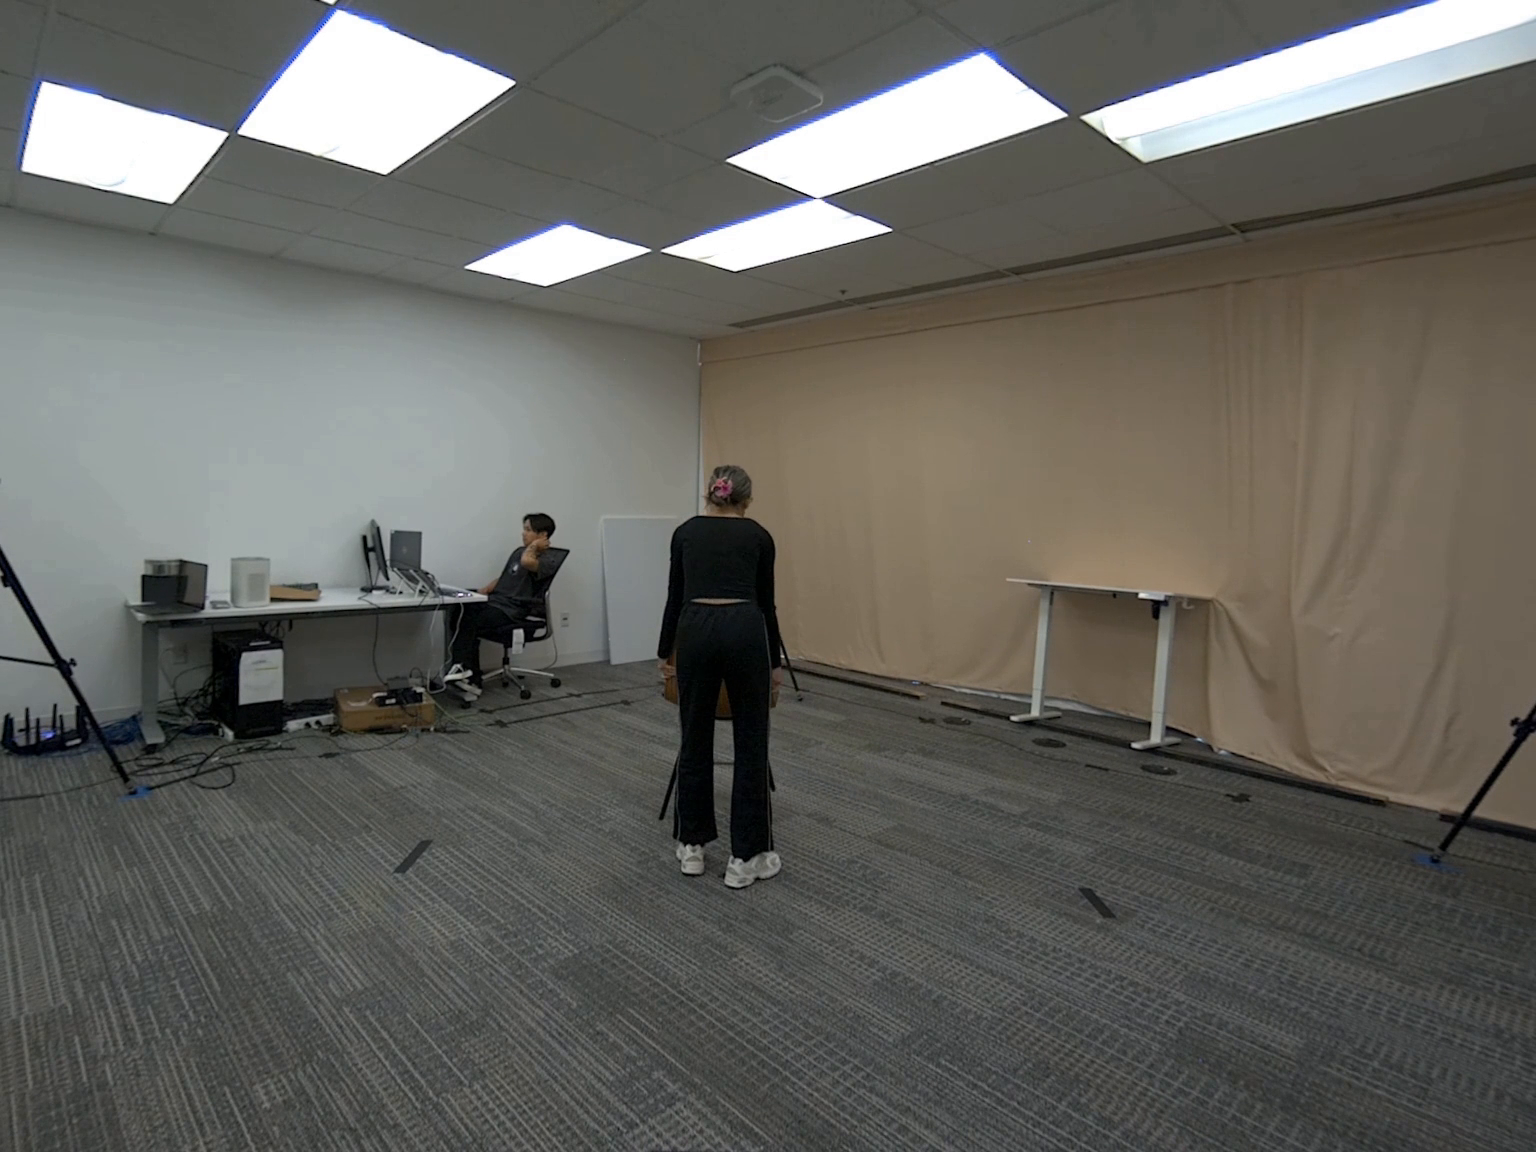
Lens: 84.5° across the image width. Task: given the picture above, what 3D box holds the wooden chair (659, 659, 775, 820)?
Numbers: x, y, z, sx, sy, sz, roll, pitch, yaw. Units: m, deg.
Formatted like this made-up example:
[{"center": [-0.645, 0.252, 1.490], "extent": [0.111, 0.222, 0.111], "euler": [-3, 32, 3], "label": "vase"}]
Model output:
[{"center": [-0.196, 0.576, 3.646], "extent": [0.481, 0.872, 0.523], "euler": [2, 9, 6], "label": "wooden chair"}]
